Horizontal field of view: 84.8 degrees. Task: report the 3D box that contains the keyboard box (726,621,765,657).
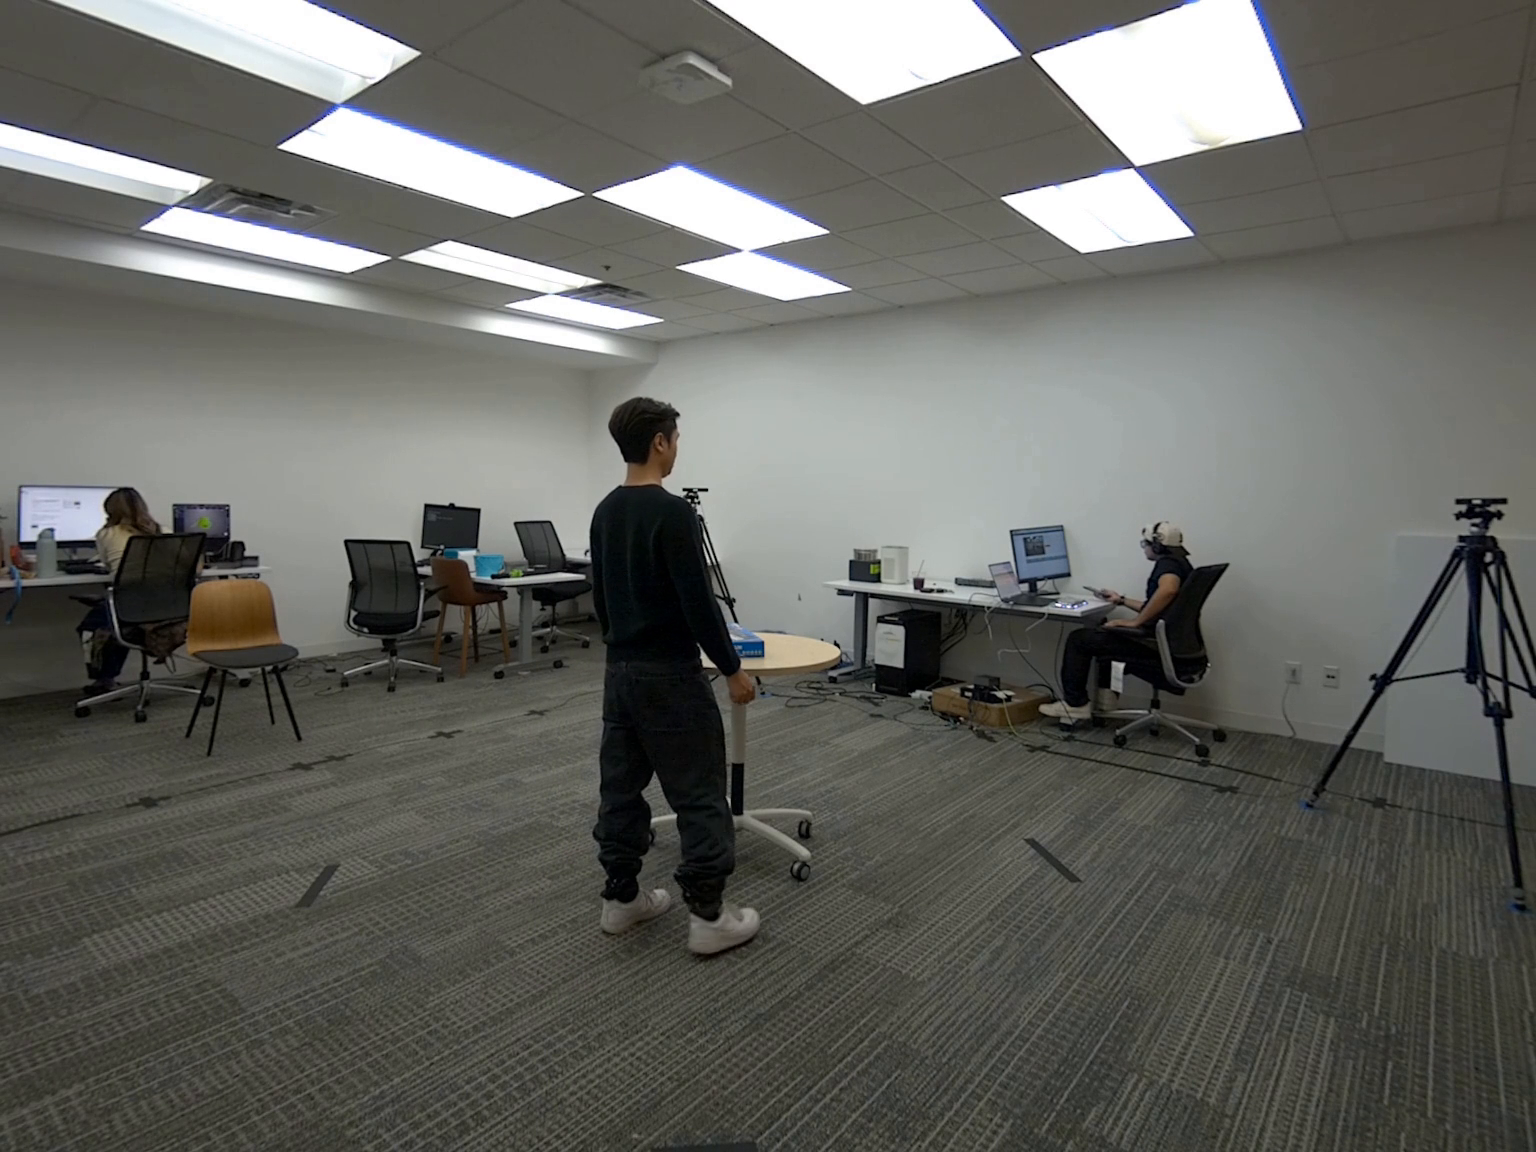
[{"bbox_3d":[-0.161,0.239,3.275,0.173,0.059,0.445,-2,6,-16],"label":"keyboard box"}]
